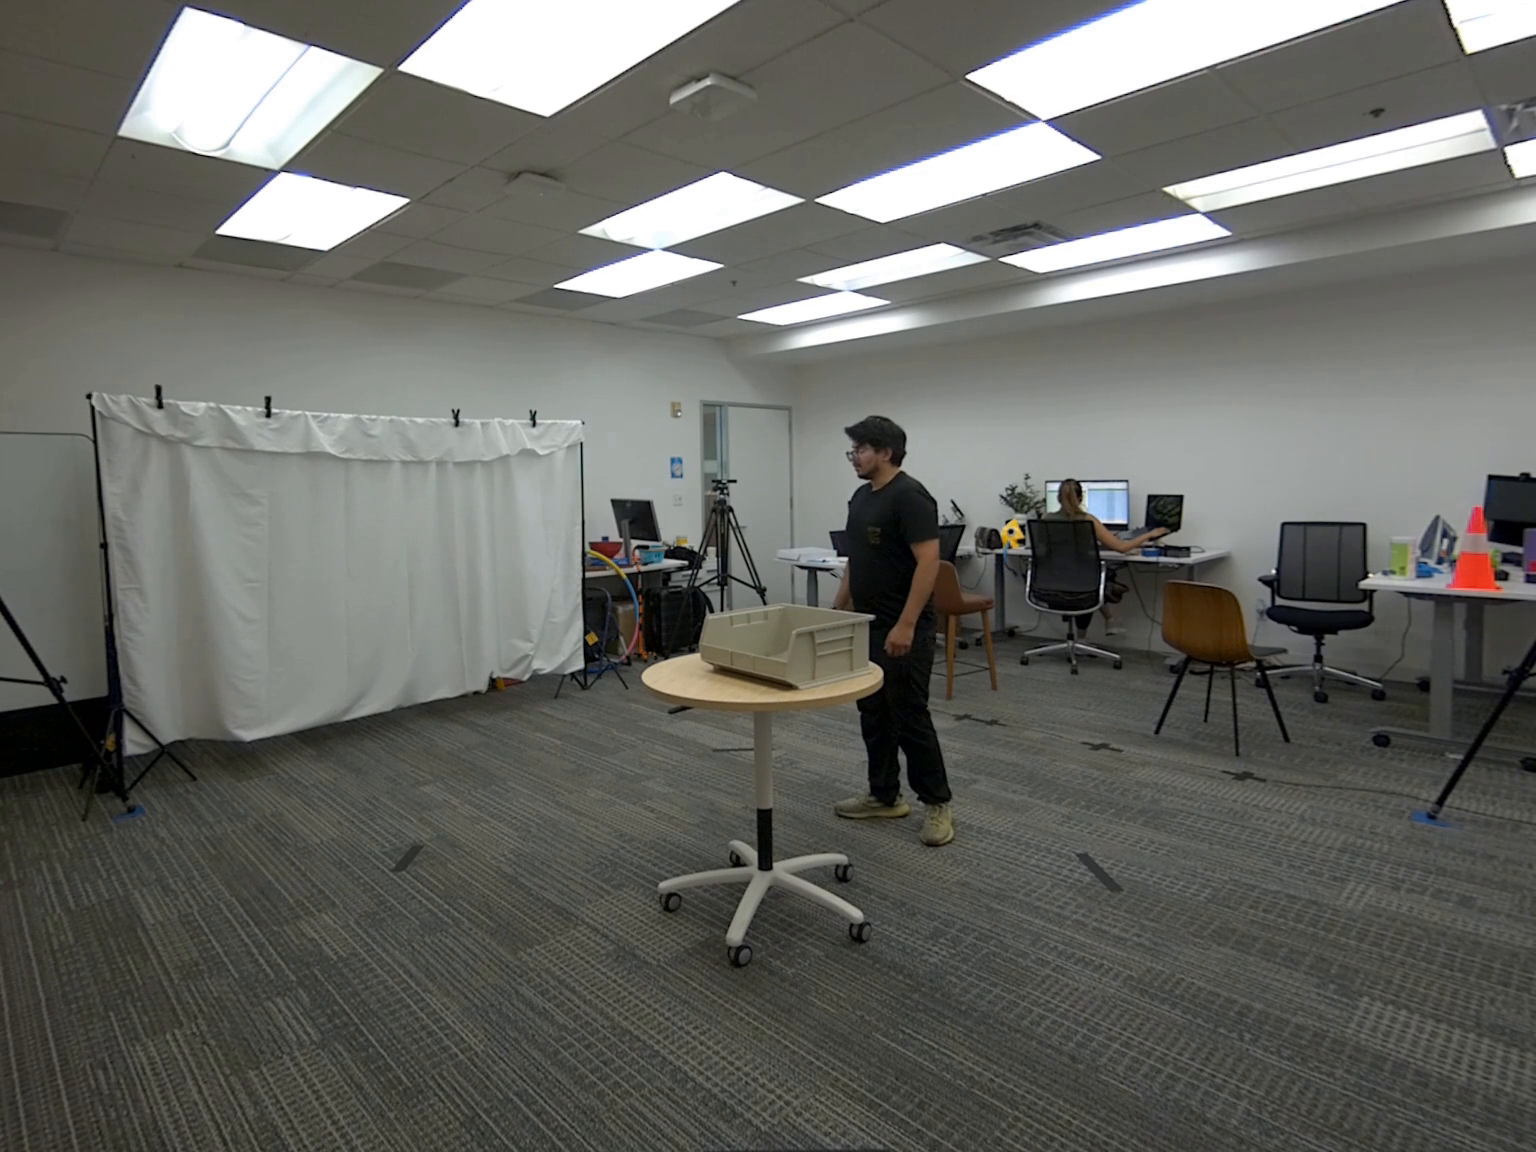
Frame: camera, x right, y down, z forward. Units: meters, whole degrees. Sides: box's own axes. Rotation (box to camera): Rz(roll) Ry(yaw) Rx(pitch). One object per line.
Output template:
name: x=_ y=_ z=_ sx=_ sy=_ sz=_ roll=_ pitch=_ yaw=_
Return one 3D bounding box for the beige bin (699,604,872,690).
beige bin: x=0.058 y=0.219 z=2.705 sx=0.367 sy=0.188 sz=0.435 roll=-5 pitch=5 yaw=-40
